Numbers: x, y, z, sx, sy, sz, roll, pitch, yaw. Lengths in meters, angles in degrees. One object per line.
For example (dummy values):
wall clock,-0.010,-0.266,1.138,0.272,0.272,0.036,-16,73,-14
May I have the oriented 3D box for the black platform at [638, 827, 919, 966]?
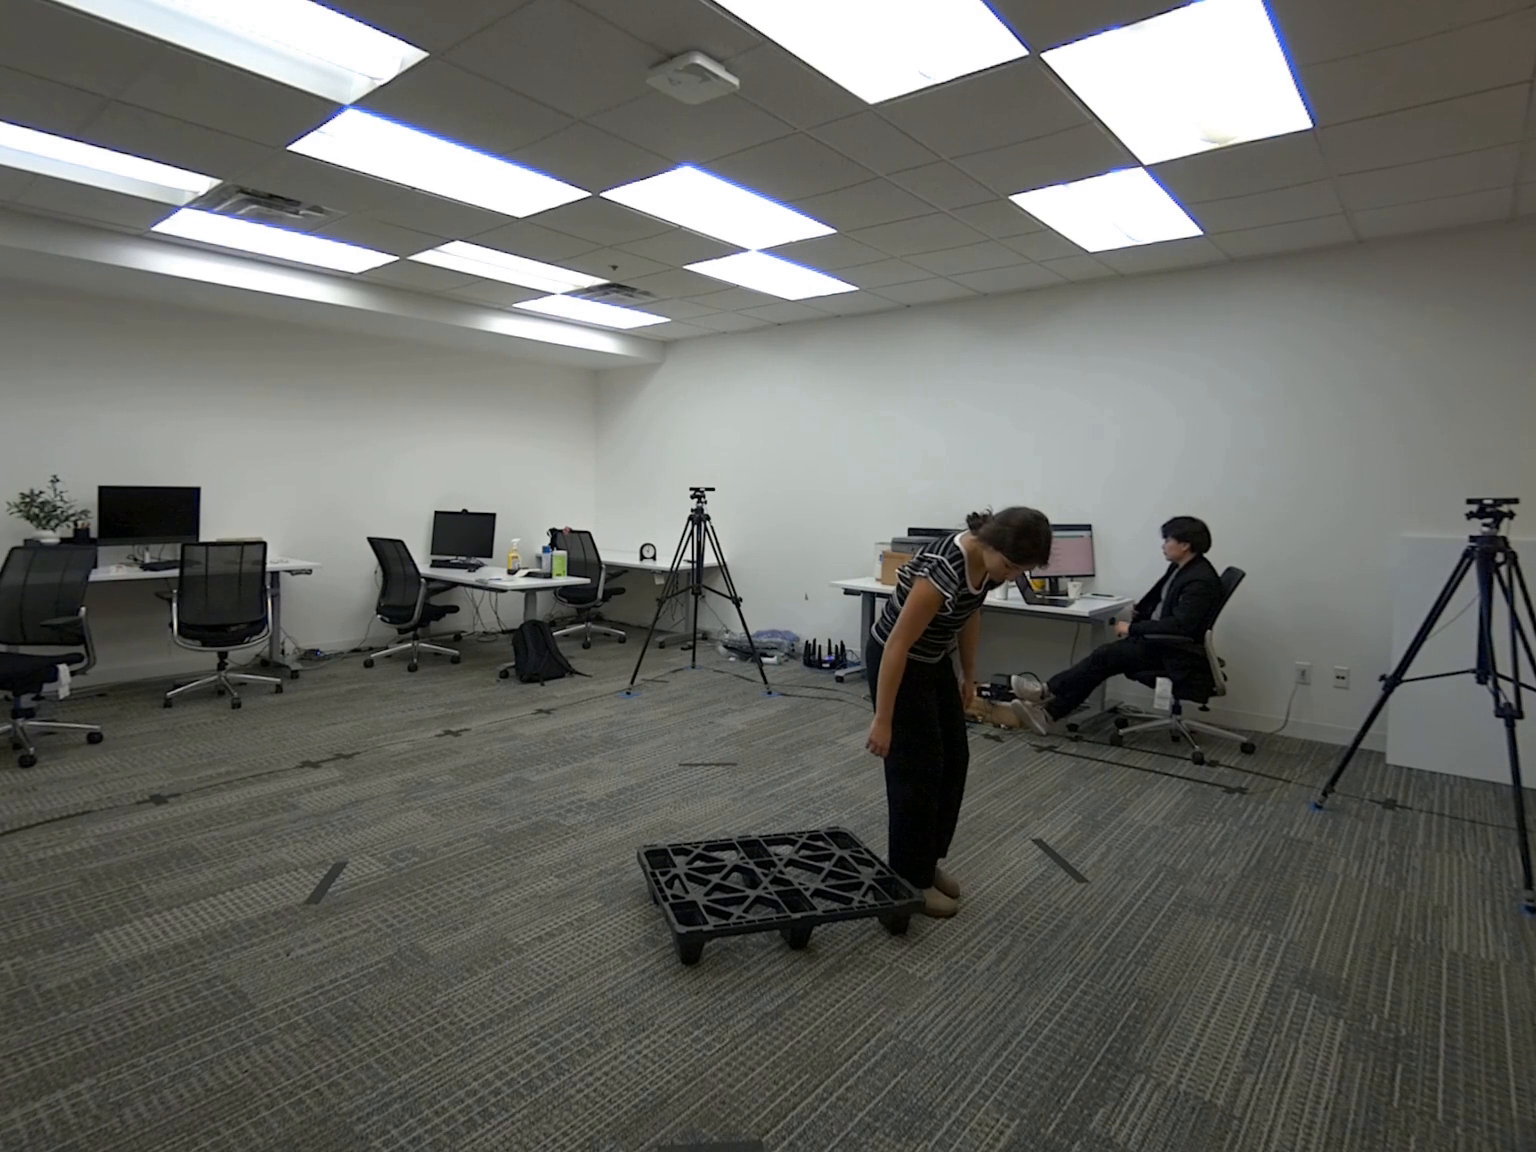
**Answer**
black platform,0.010,1.033,2.795,0.791,0.142,0.619,-1,7,-18
